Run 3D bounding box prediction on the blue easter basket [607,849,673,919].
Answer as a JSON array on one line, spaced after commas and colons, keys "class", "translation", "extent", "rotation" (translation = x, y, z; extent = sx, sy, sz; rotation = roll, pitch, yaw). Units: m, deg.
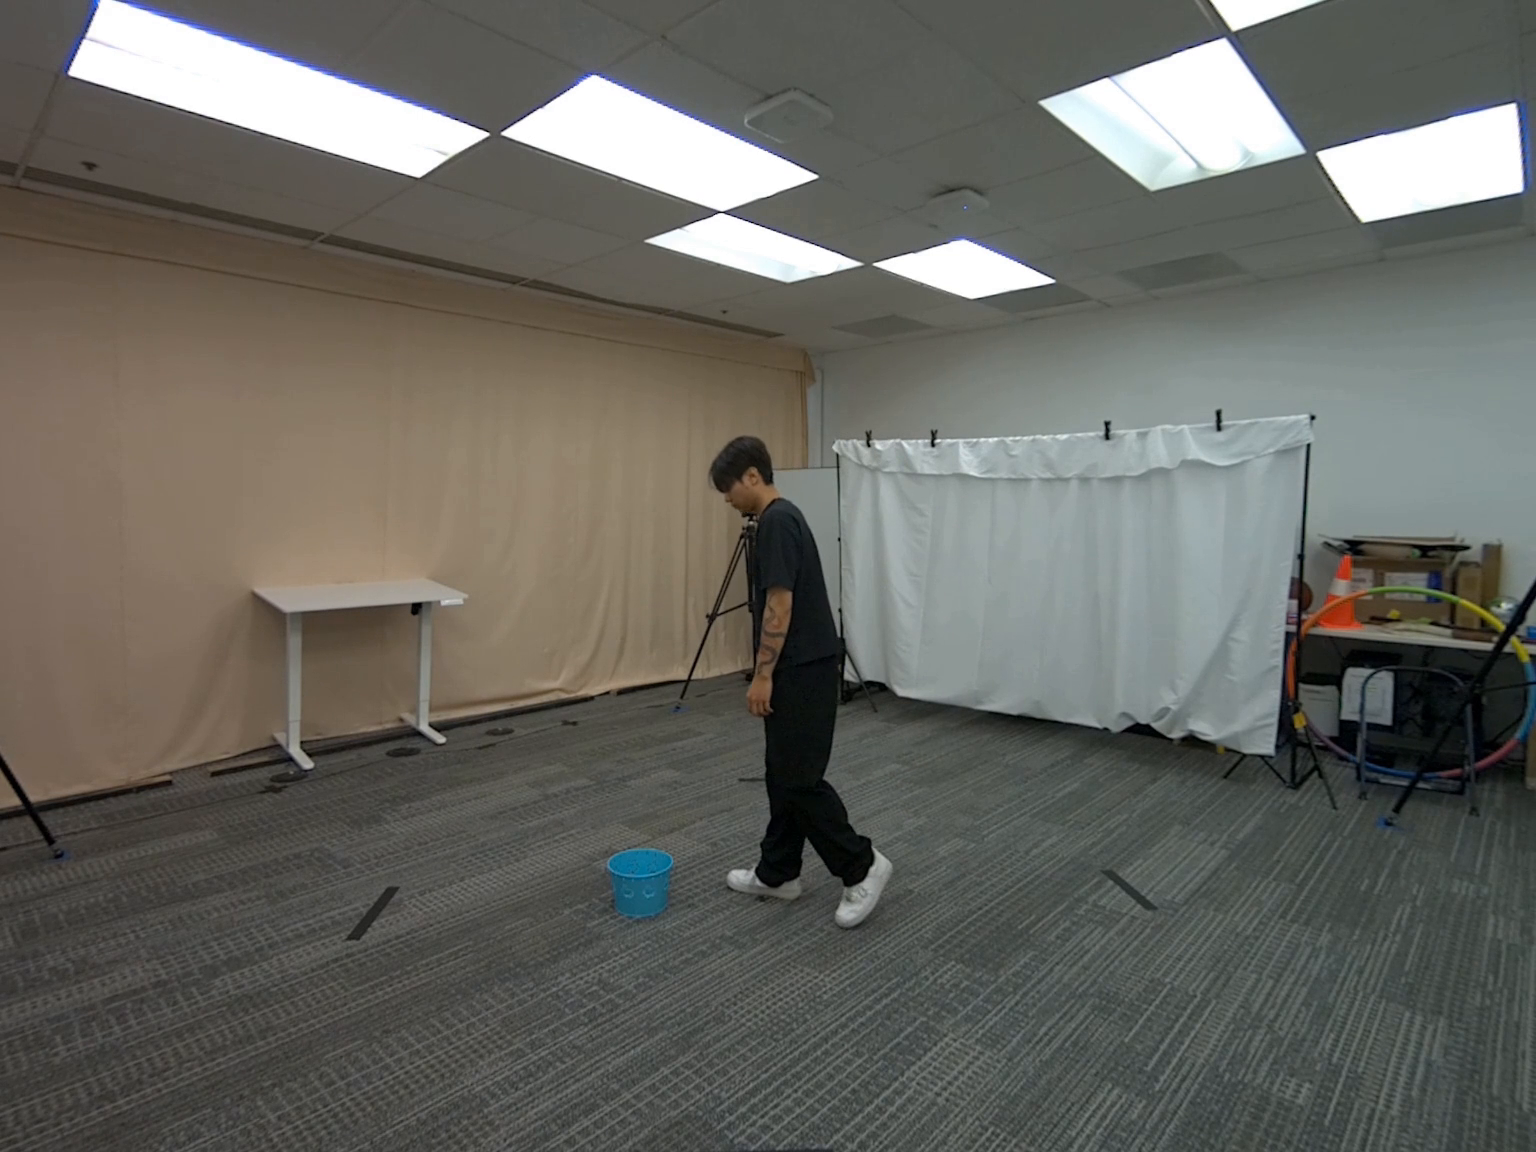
[{"class": "blue easter basket", "translation": [-0.451, 1.075, 2.941], "extent": [0.243, 0.155, 0.244], "rotation": [-1, 4, -2]}]
